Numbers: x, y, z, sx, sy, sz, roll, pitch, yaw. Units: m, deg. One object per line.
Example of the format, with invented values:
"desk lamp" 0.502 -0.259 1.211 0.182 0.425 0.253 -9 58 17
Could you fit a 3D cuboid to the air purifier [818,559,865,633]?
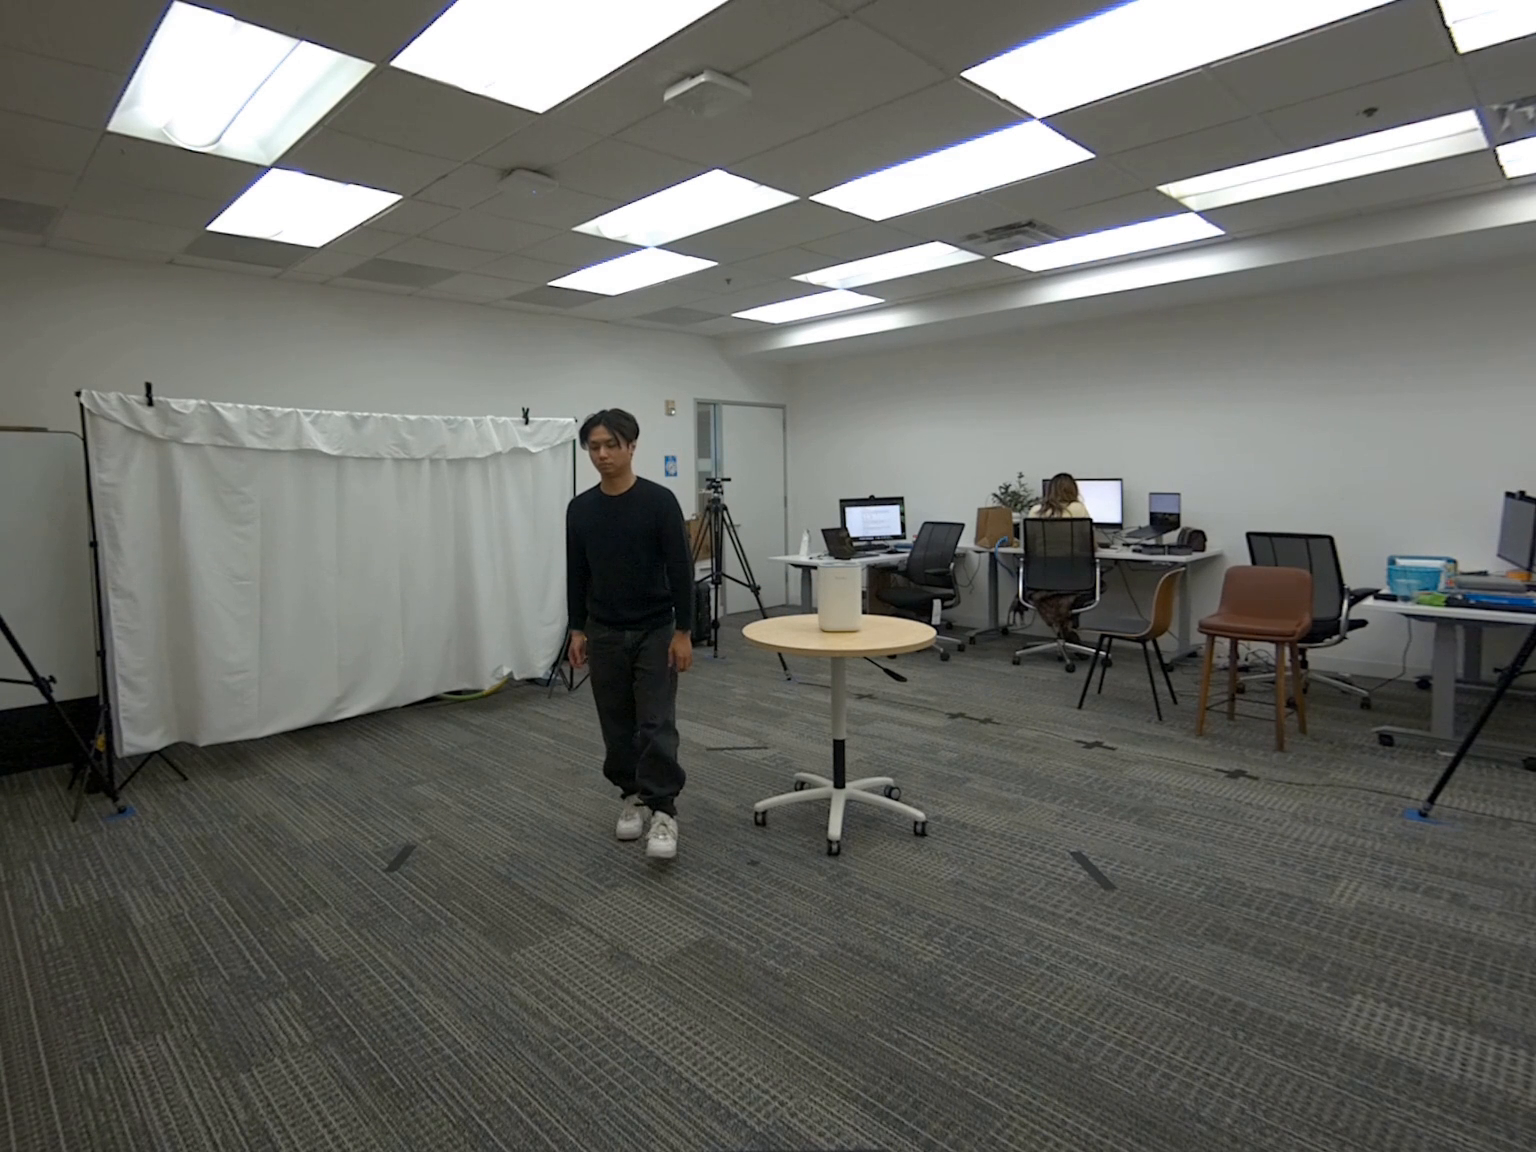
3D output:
"air purifier" 0.288 0.075 3.417 0.172 0.264 0.172 0 5 3
